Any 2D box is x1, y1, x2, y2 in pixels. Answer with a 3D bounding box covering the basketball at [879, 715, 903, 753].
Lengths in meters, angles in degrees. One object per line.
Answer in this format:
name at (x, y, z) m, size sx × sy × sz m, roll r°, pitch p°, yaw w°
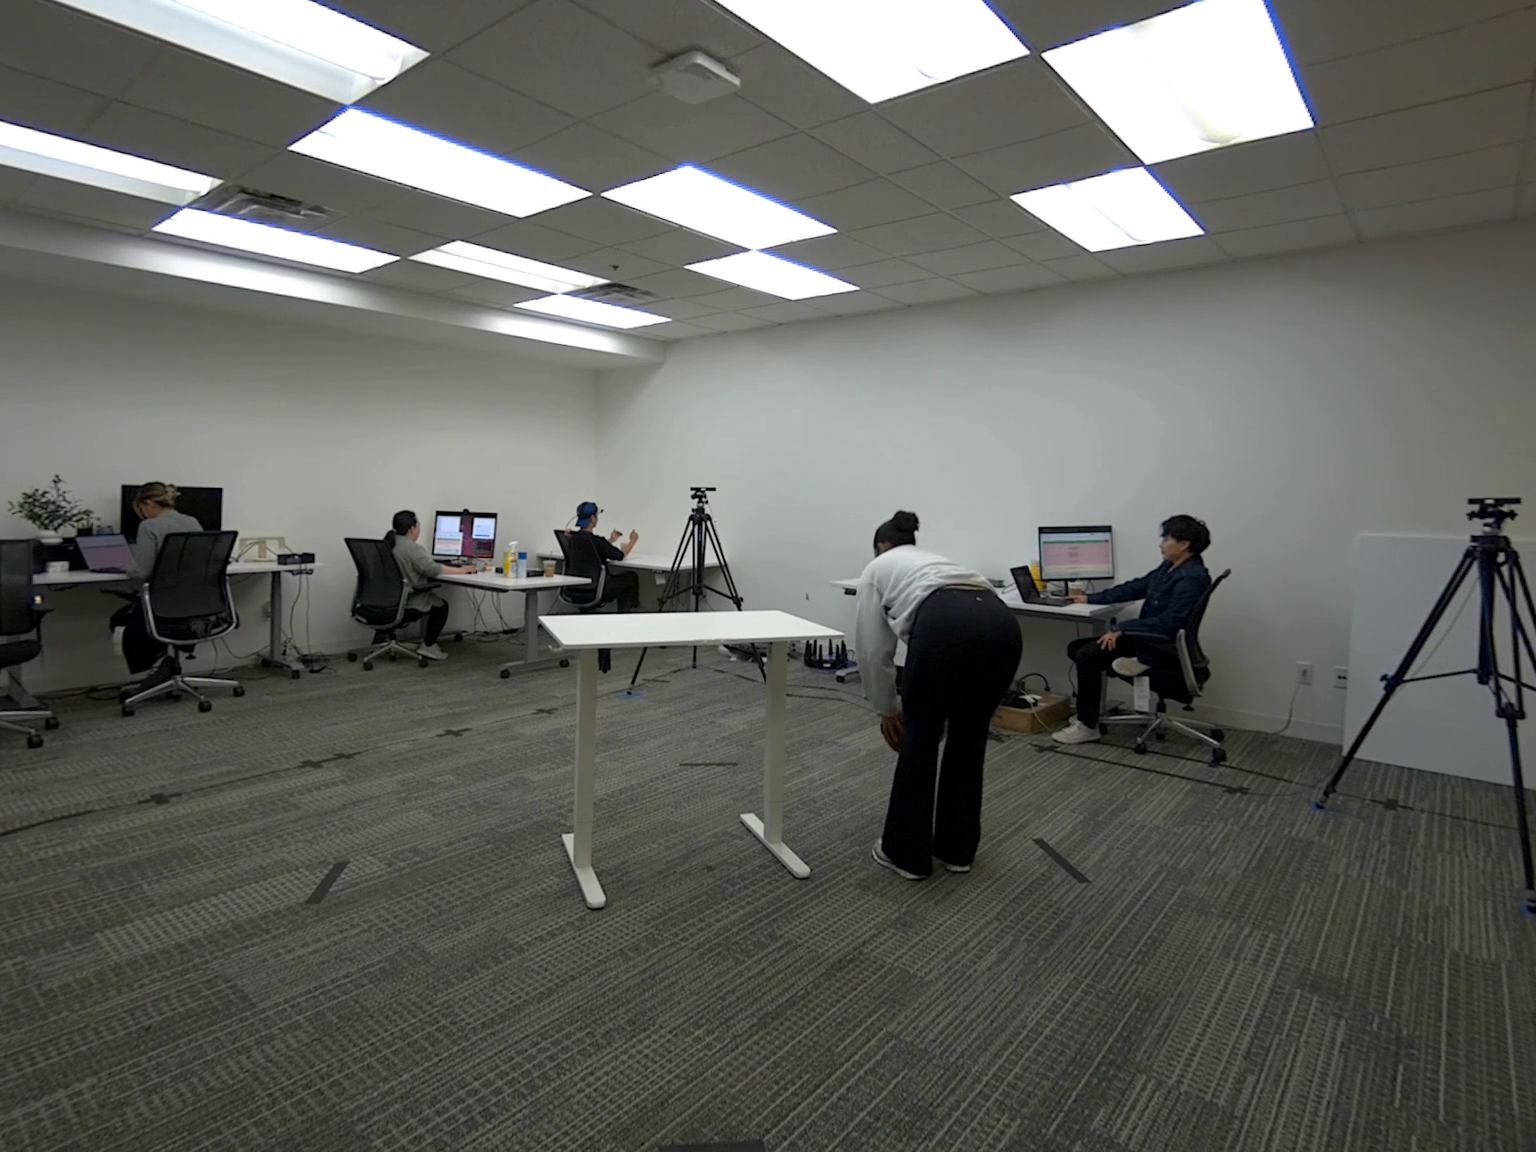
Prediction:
basketball at (0.568, 0.597, 3.436) m, size 0.235 × 0.235 × 0.237 m, roll 1°, pitch 4°, yaw -2°
